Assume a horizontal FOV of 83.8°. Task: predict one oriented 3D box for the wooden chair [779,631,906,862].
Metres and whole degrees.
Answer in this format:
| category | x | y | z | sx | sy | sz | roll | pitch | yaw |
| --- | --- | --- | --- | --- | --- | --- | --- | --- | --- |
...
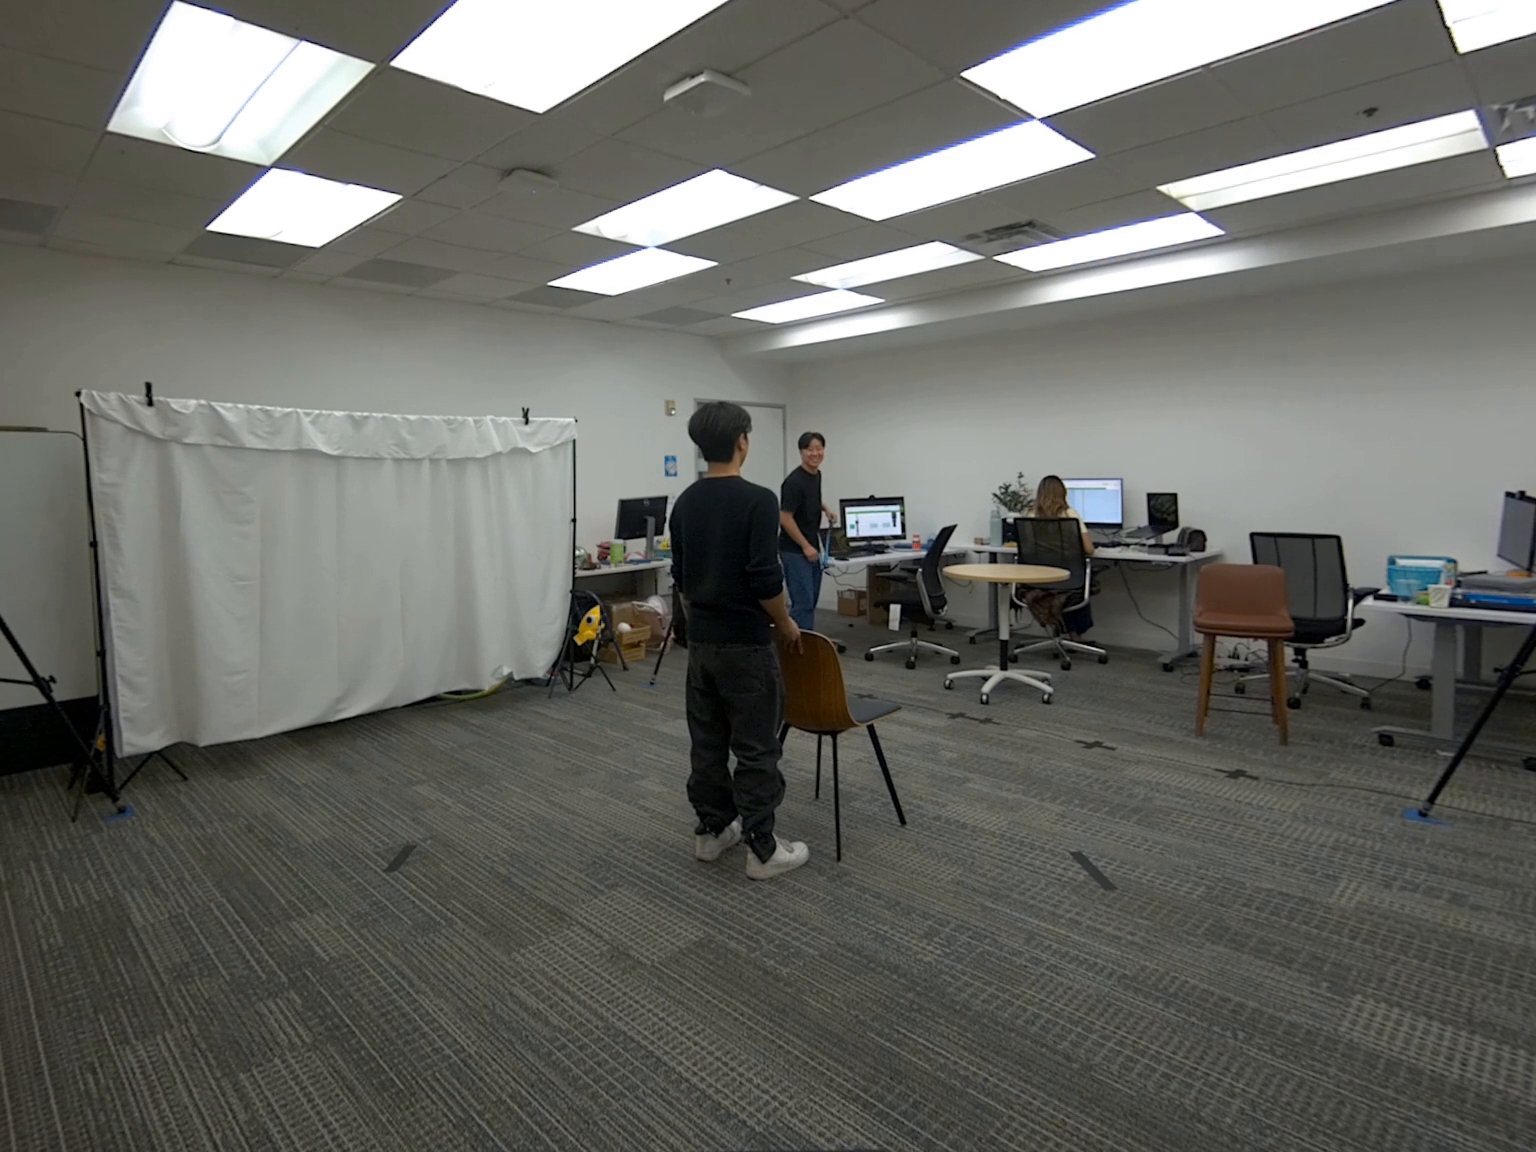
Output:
| category | x | y | z | sx | sy | sz | roll | pitch | yaw |
| --- | --- | --- | --- | --- | --- | --- | --- | --- | --- |
| wooden chair | 0.236 | 0.578 | 3.392 | 0.493 | 0.871 | 0.511 | 3 | 10 | 42 |
